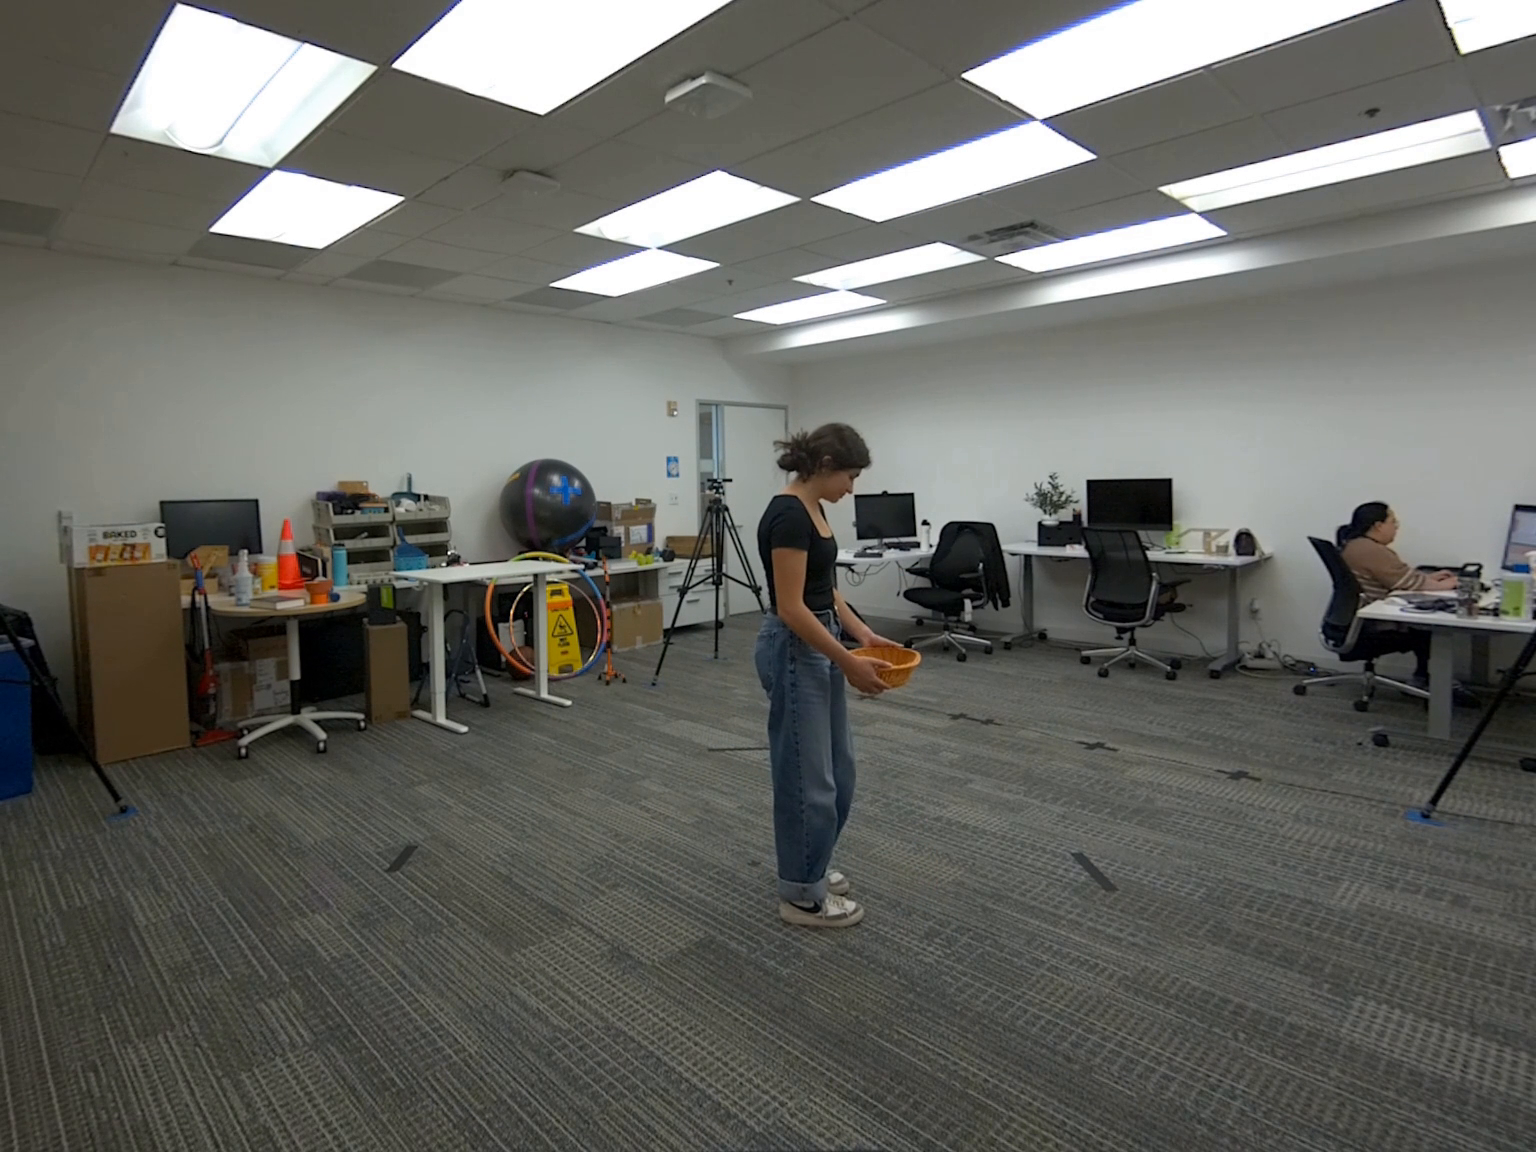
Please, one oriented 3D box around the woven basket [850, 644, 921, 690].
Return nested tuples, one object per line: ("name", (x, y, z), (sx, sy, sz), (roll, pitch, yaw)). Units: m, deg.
("woven basket", (0.325, 0.292, 2.662), (0.256, 0.073, 0.347), (-2, 6, 15))
